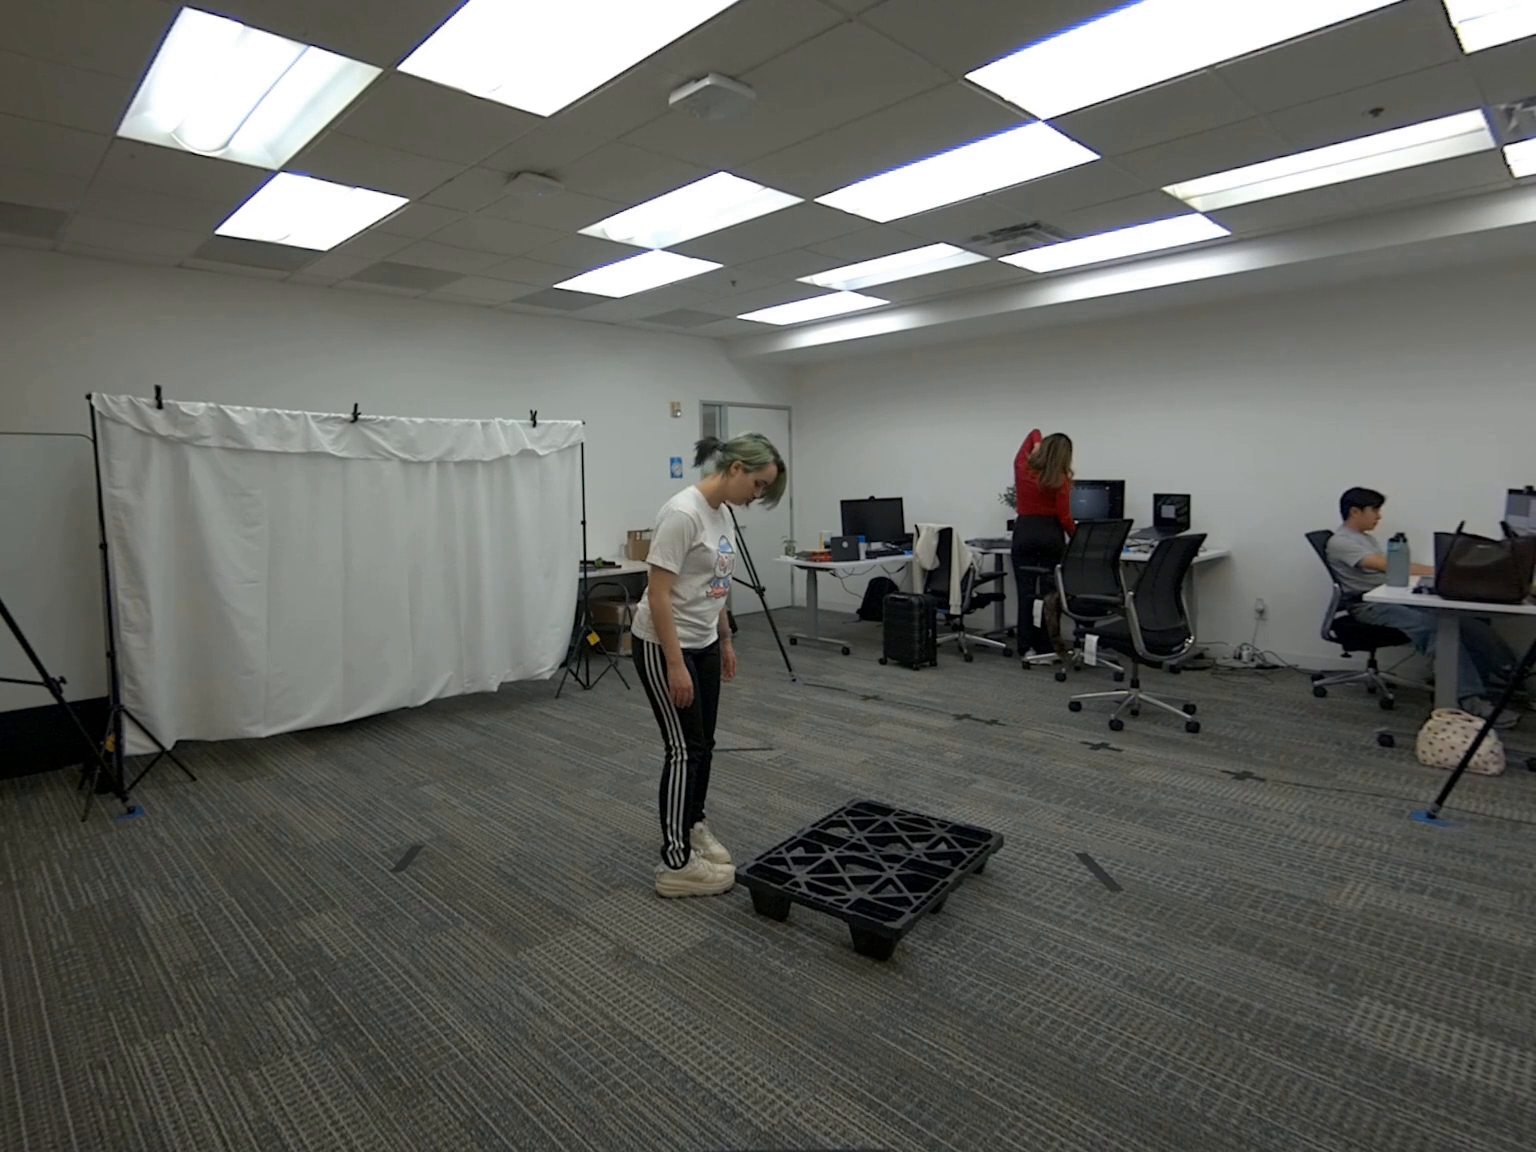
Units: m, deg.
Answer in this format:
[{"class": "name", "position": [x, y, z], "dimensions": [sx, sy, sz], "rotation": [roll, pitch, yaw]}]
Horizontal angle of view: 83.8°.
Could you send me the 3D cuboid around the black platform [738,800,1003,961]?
[{"class": "black platform", "position": [0.368, 0.999, 2.889], "dimensions": [0.623, 0.142, 0.786], "rotation": [4, 9, 37]}]
